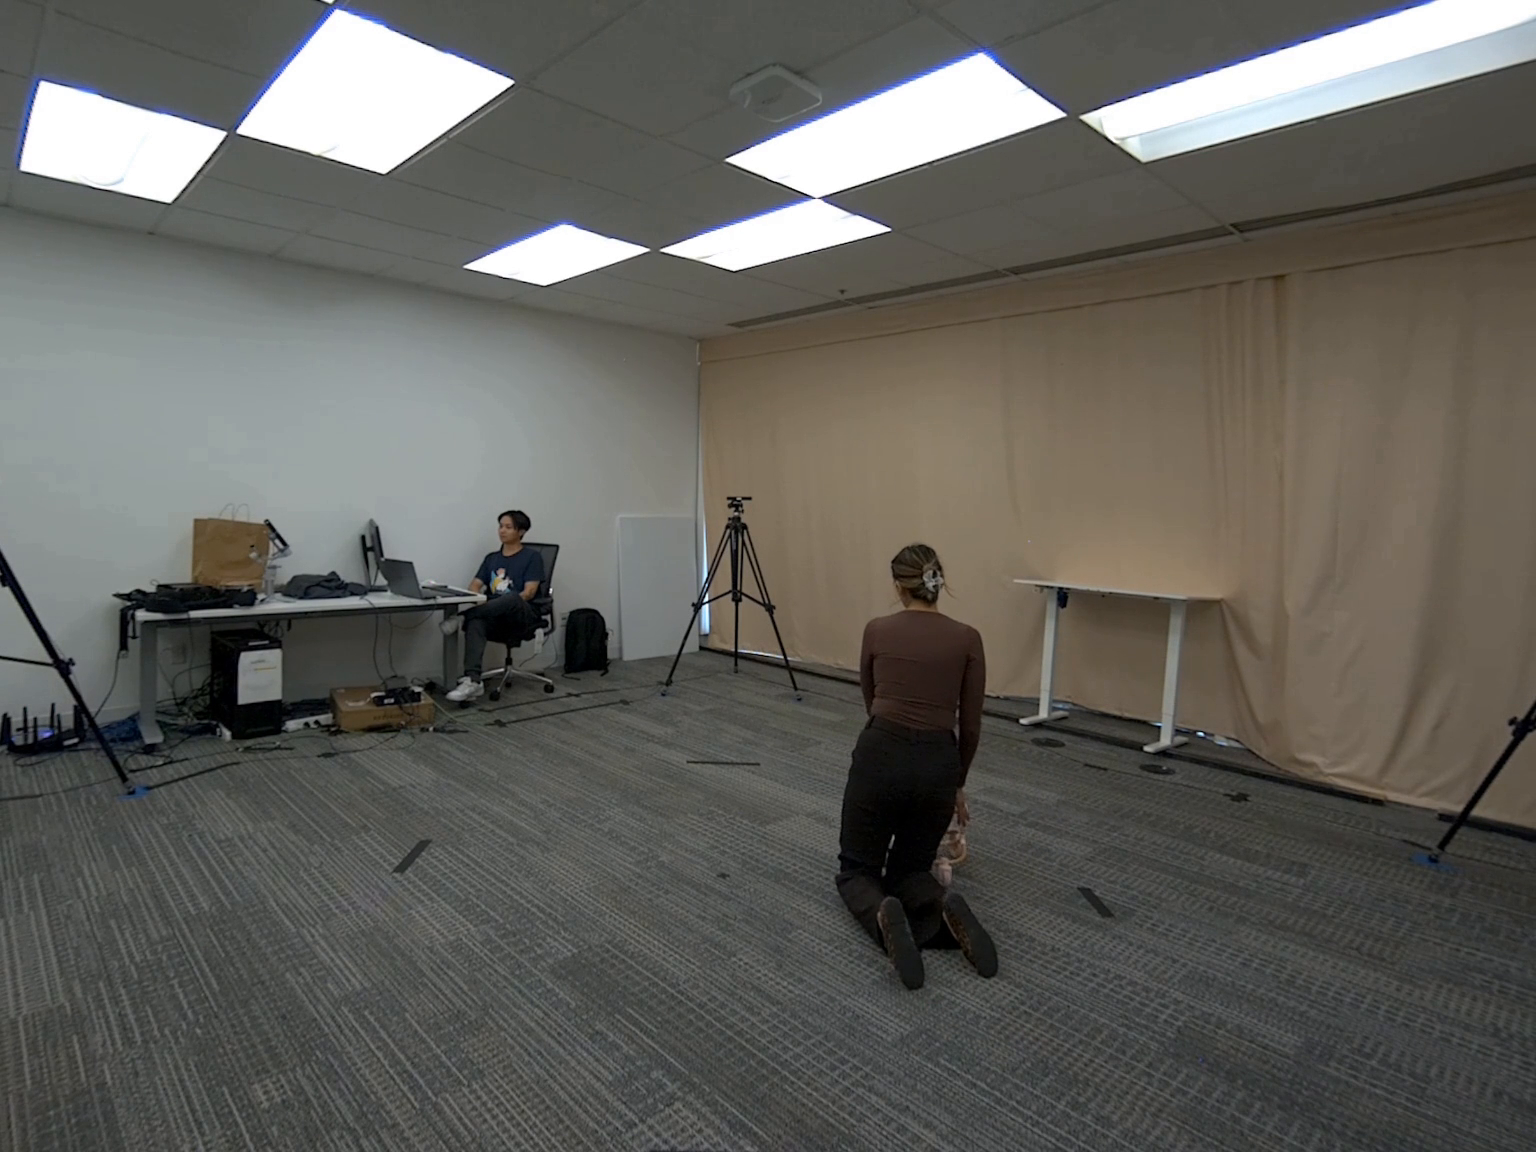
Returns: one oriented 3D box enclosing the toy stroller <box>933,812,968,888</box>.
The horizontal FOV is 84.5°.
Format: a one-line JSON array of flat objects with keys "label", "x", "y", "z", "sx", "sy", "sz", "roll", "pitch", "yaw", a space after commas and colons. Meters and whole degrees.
[{"label": "toy stroller", "x": 0.629, "y": 0.895, "z": 3.246, "sx": 0.281, "sy": 0.540, "sz": 0.338, "roll": 1, "pitch": -13, "yaw": -2}]
